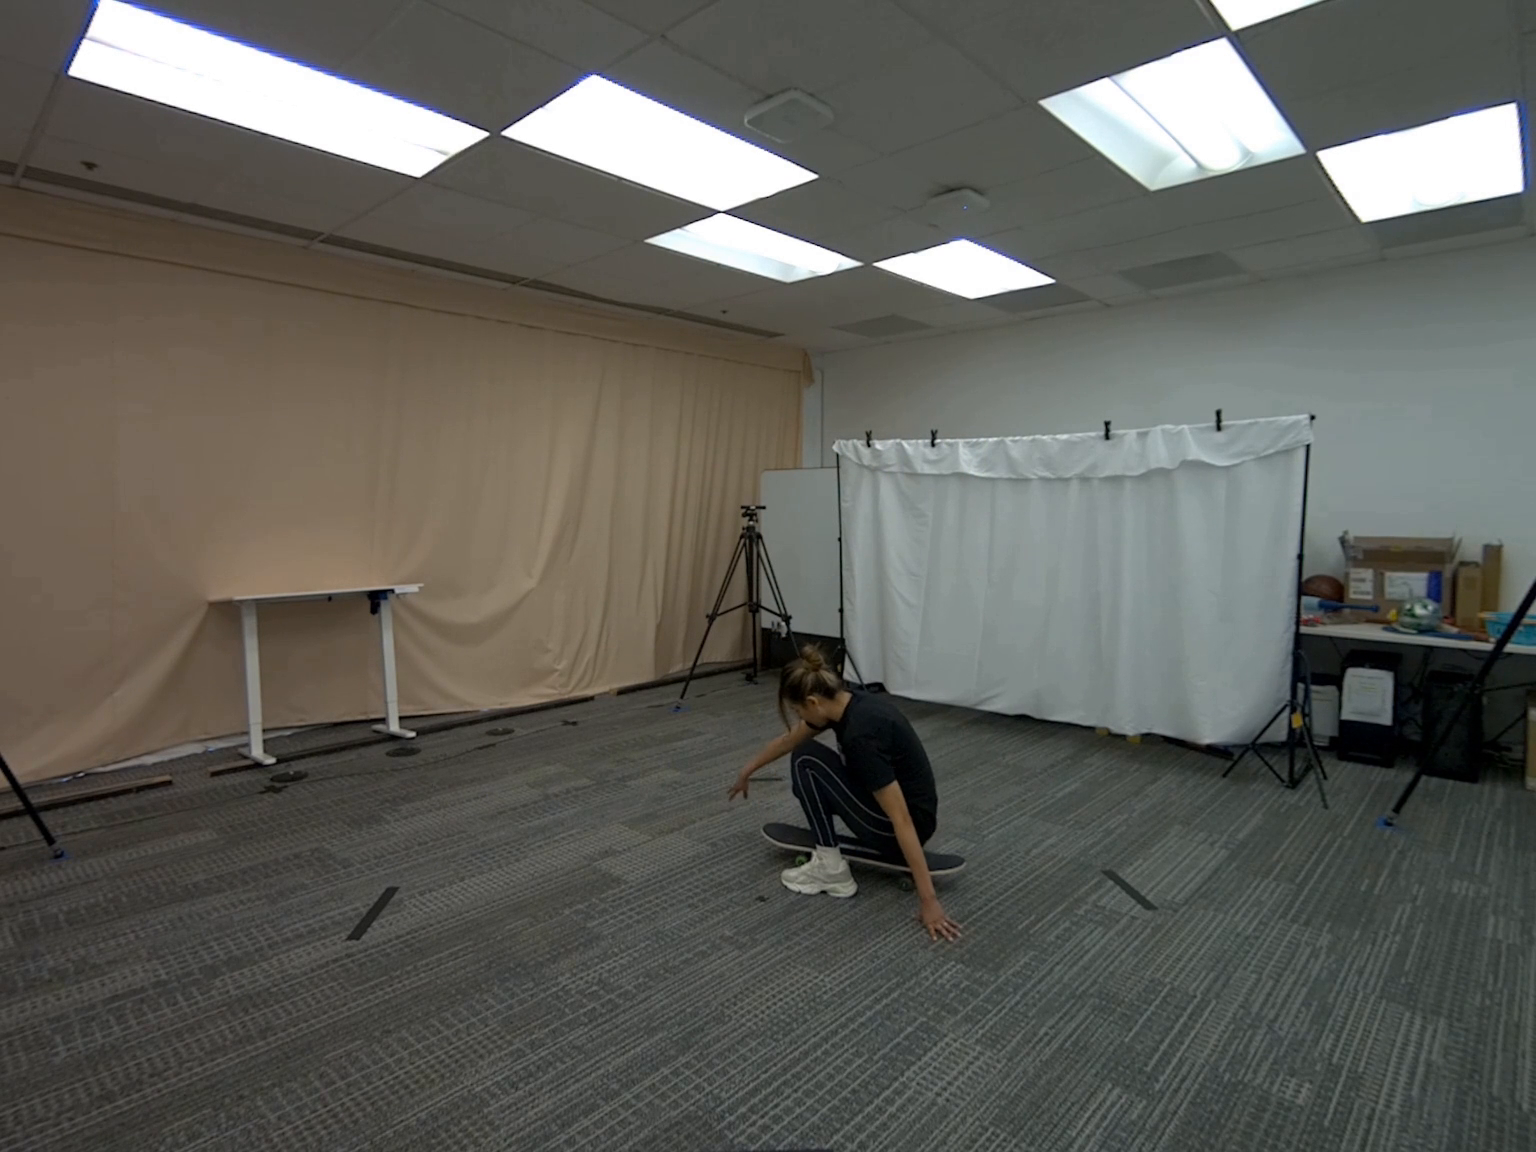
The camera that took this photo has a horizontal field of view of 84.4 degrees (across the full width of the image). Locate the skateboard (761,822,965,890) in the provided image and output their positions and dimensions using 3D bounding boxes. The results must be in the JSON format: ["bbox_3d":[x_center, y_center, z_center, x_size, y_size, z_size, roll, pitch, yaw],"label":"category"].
[{"bbox_3d":[0.346,1.053,3.207,0.807,0.110,0.188,3,3,27],"label":"skateboard"}]
